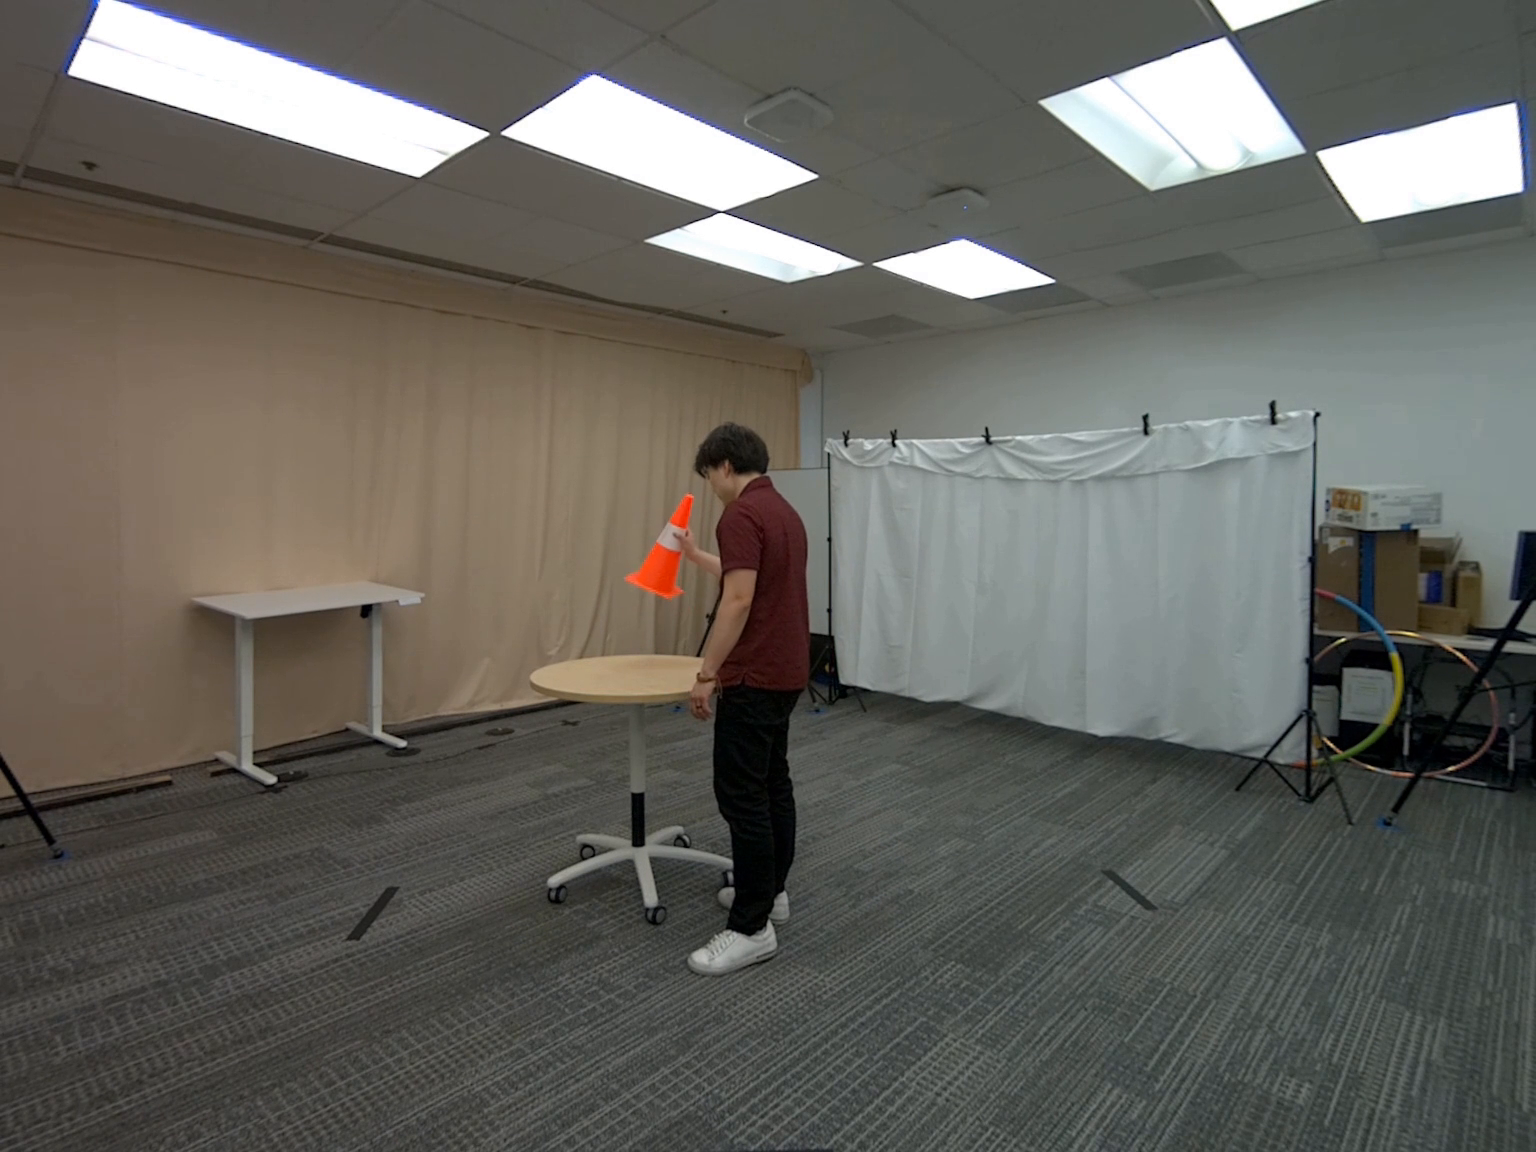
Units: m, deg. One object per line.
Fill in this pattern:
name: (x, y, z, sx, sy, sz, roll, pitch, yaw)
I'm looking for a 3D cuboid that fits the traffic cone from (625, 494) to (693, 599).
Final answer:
traffic cone: (-0.370, -0.125, 3.246, 0.209, 0.383, 0.200, 27, 12, 15)
